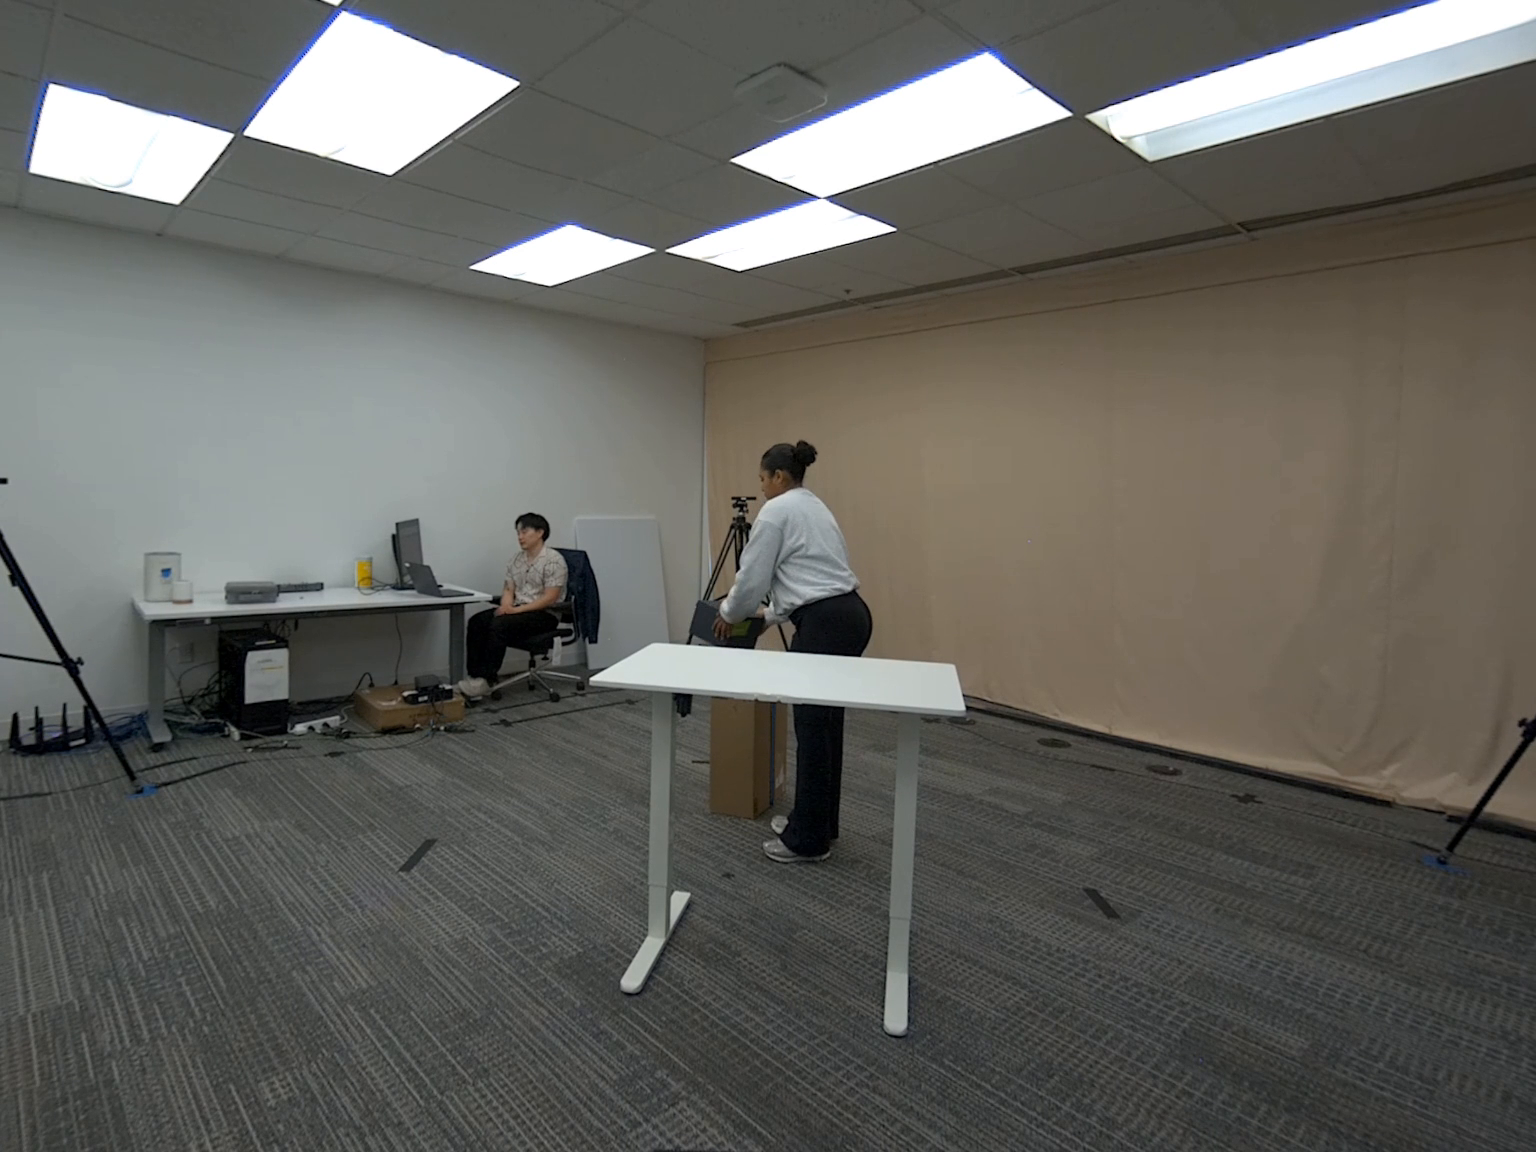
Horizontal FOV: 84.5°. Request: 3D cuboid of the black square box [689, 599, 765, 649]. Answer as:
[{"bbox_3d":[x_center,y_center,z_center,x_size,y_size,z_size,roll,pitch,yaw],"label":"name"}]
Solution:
[{"bbox_3d":[-0.186,0.211,3.710,0.223,0.155,0.222,20,7,33],"label":"black square box"}]
